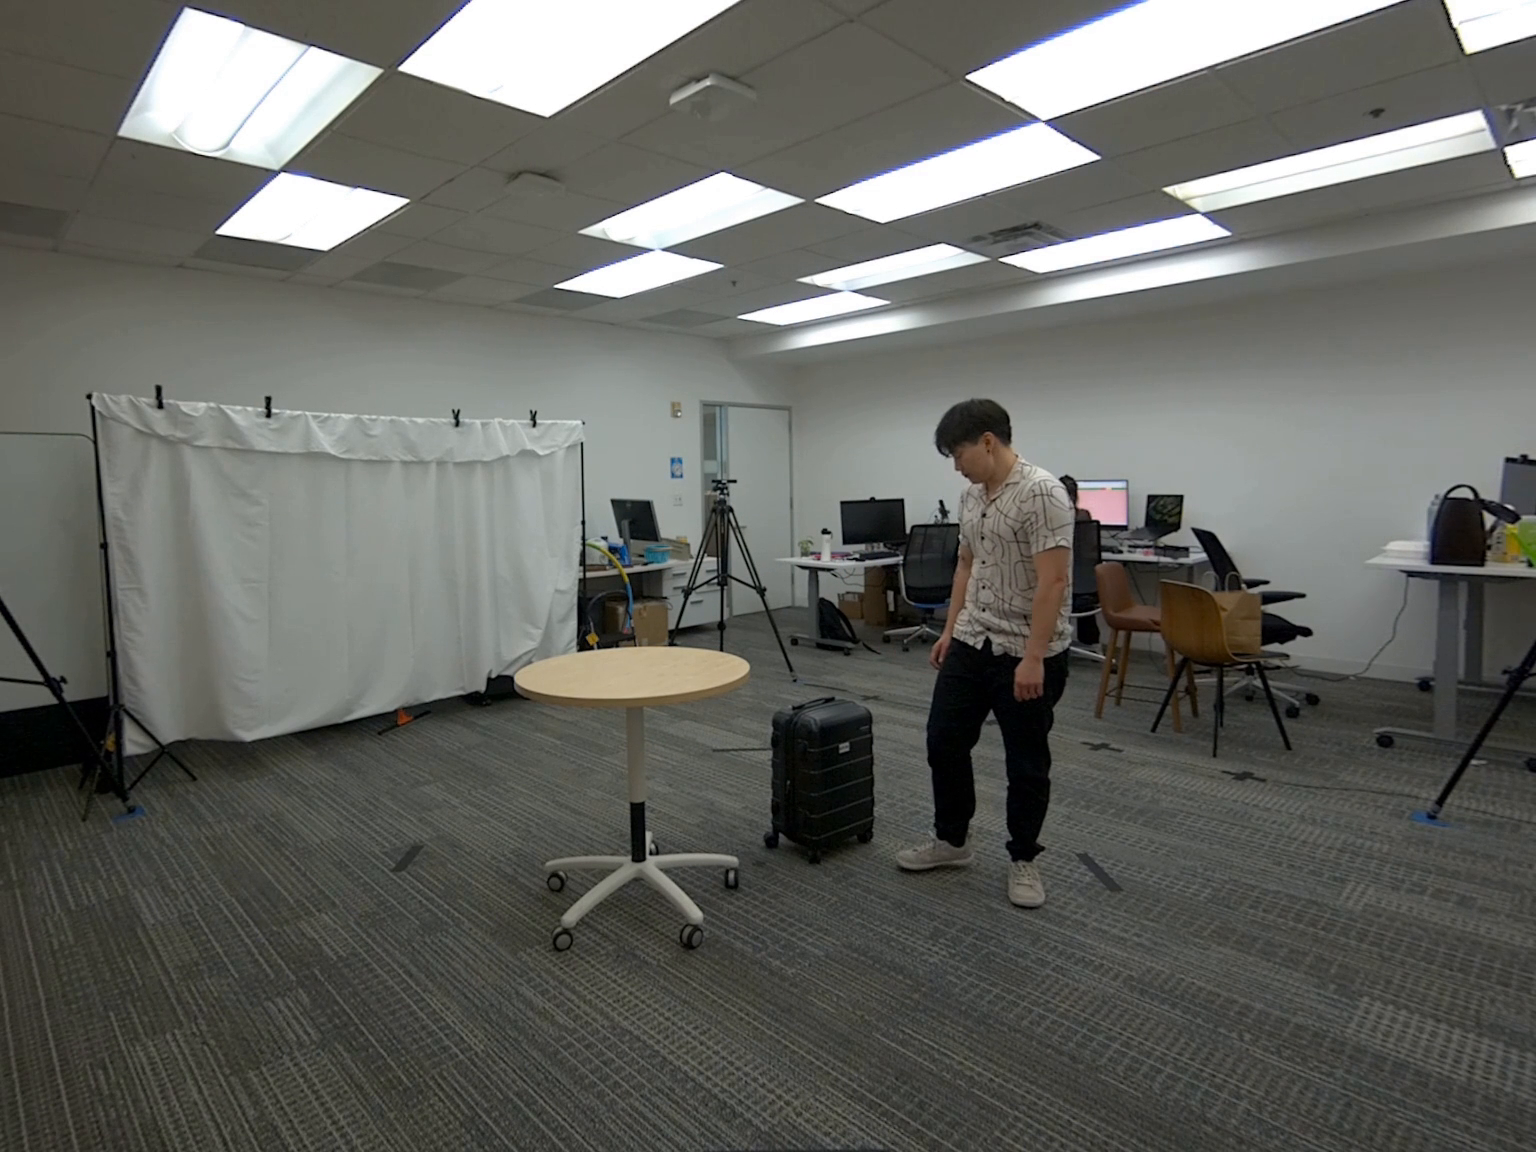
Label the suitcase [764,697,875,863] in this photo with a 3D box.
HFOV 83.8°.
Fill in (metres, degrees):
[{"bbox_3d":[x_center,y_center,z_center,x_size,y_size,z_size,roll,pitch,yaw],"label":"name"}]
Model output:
[{"bbox_3d":[0.213,0.750,3.252,0.365,0.547,0.256,-3,6,-39],"label":"suitcase"}]
